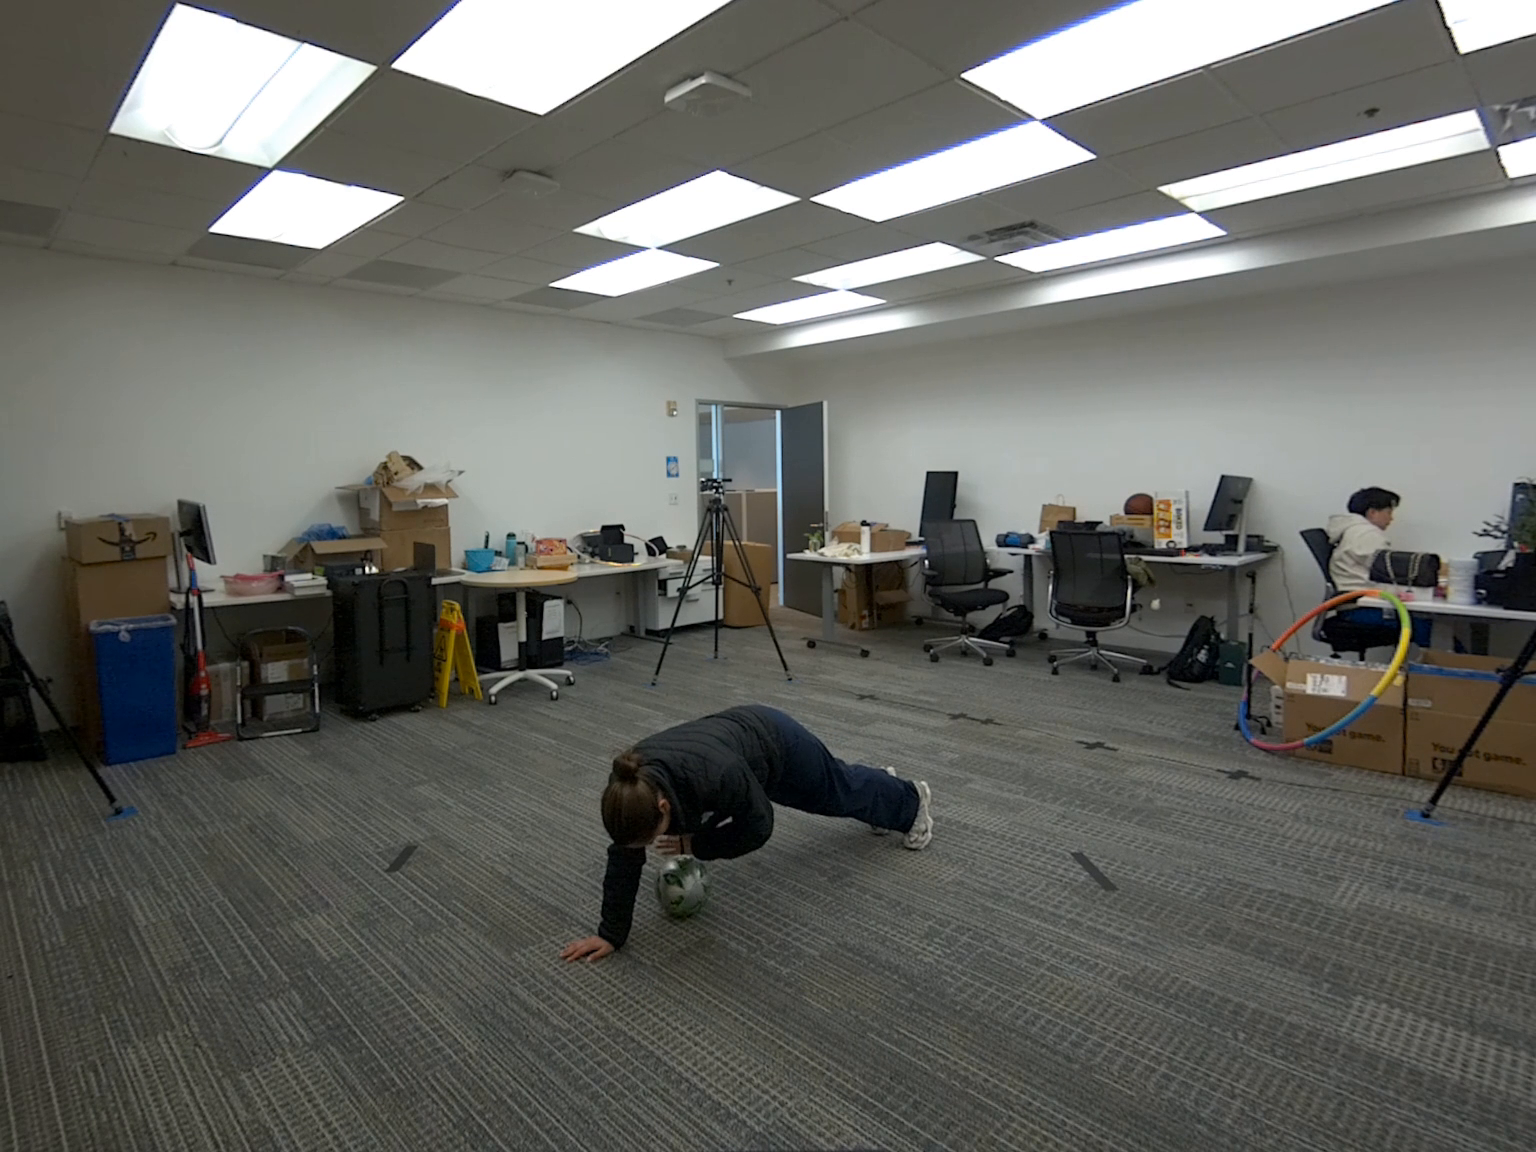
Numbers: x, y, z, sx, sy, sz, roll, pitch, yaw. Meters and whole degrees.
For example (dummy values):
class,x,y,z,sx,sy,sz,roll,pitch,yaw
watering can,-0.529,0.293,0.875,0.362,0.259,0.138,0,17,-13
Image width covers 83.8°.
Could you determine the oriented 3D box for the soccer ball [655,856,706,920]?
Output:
class,x,y,z,sx,sy,sz,roll,pitch,yaw
soccer ball,-0.269,1.000,2.754,0.187,0.187,0.188,-1,5,-2
